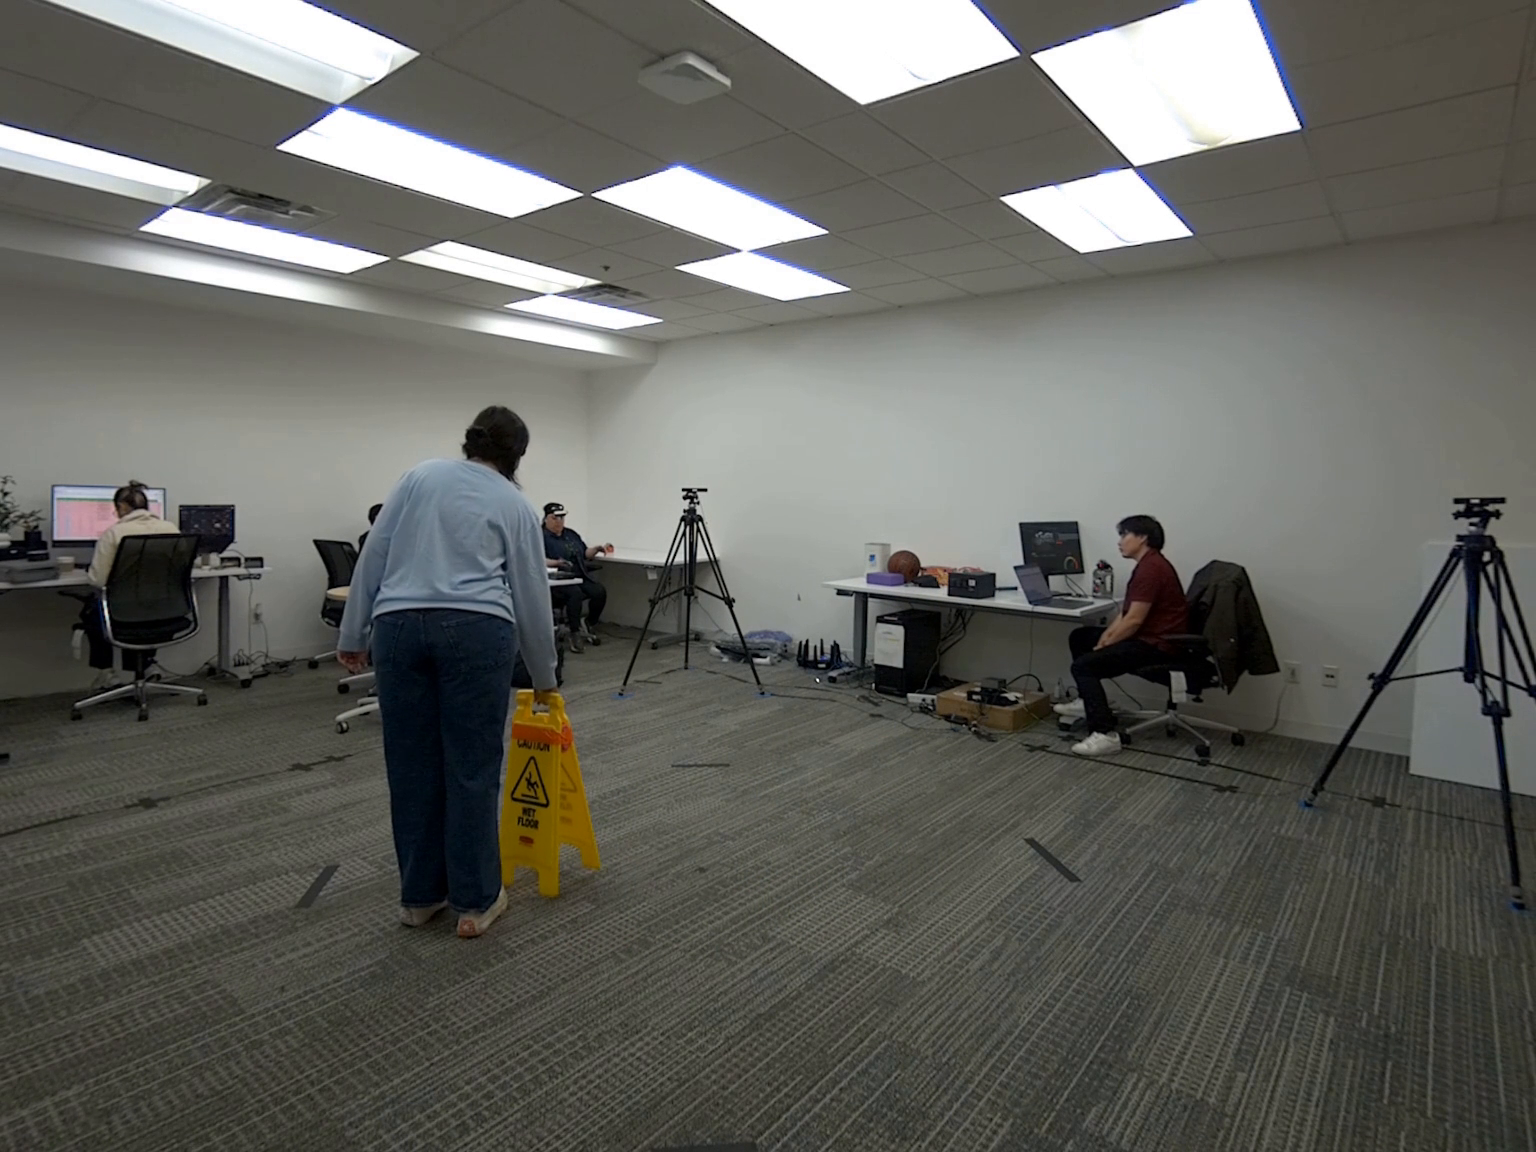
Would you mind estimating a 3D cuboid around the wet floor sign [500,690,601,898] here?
[{"bbox_3d":[-0.797,0.722,2.967,0.290,0.645,0.282,-1,2,30],"label":"wet floor sign"}]
